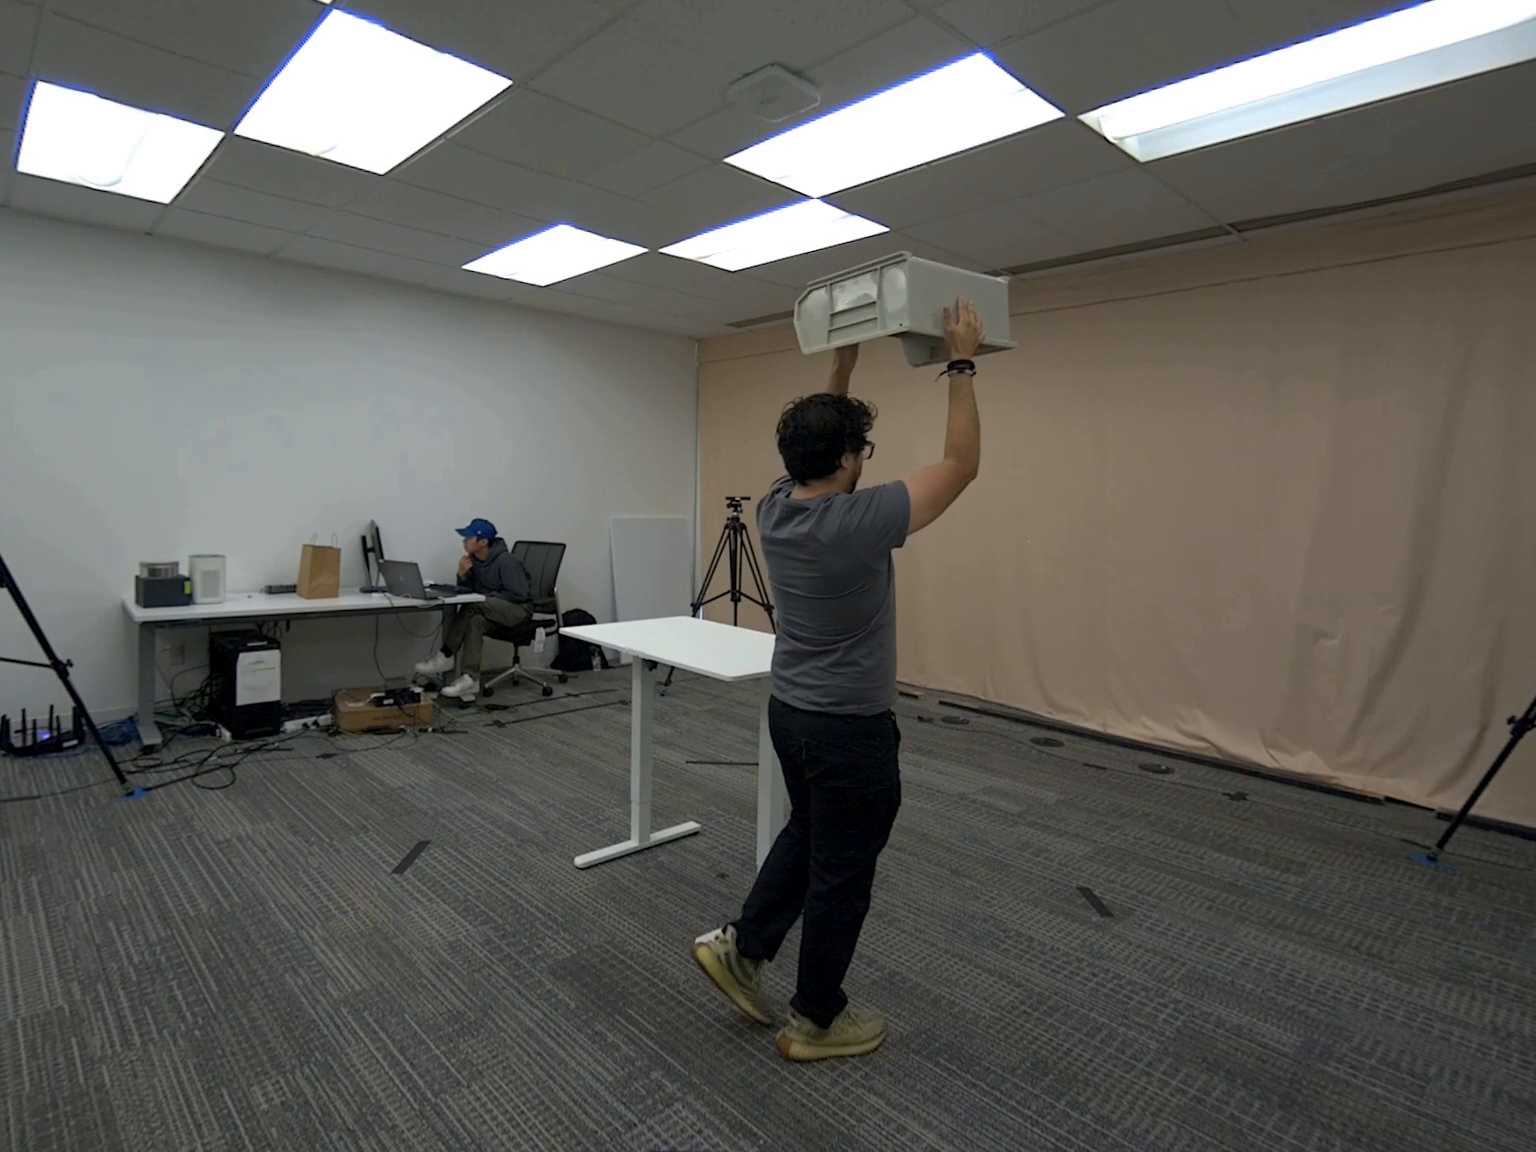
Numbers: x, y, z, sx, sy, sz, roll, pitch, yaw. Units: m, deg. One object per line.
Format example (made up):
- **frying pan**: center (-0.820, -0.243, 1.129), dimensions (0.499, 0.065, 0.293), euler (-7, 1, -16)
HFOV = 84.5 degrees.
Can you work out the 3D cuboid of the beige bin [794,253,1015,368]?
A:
- **beige bin**: center (0.338, -0.654, 2.146), dimensions (0.413, 0.189, 0.386), euler (-4, 3, -39)
